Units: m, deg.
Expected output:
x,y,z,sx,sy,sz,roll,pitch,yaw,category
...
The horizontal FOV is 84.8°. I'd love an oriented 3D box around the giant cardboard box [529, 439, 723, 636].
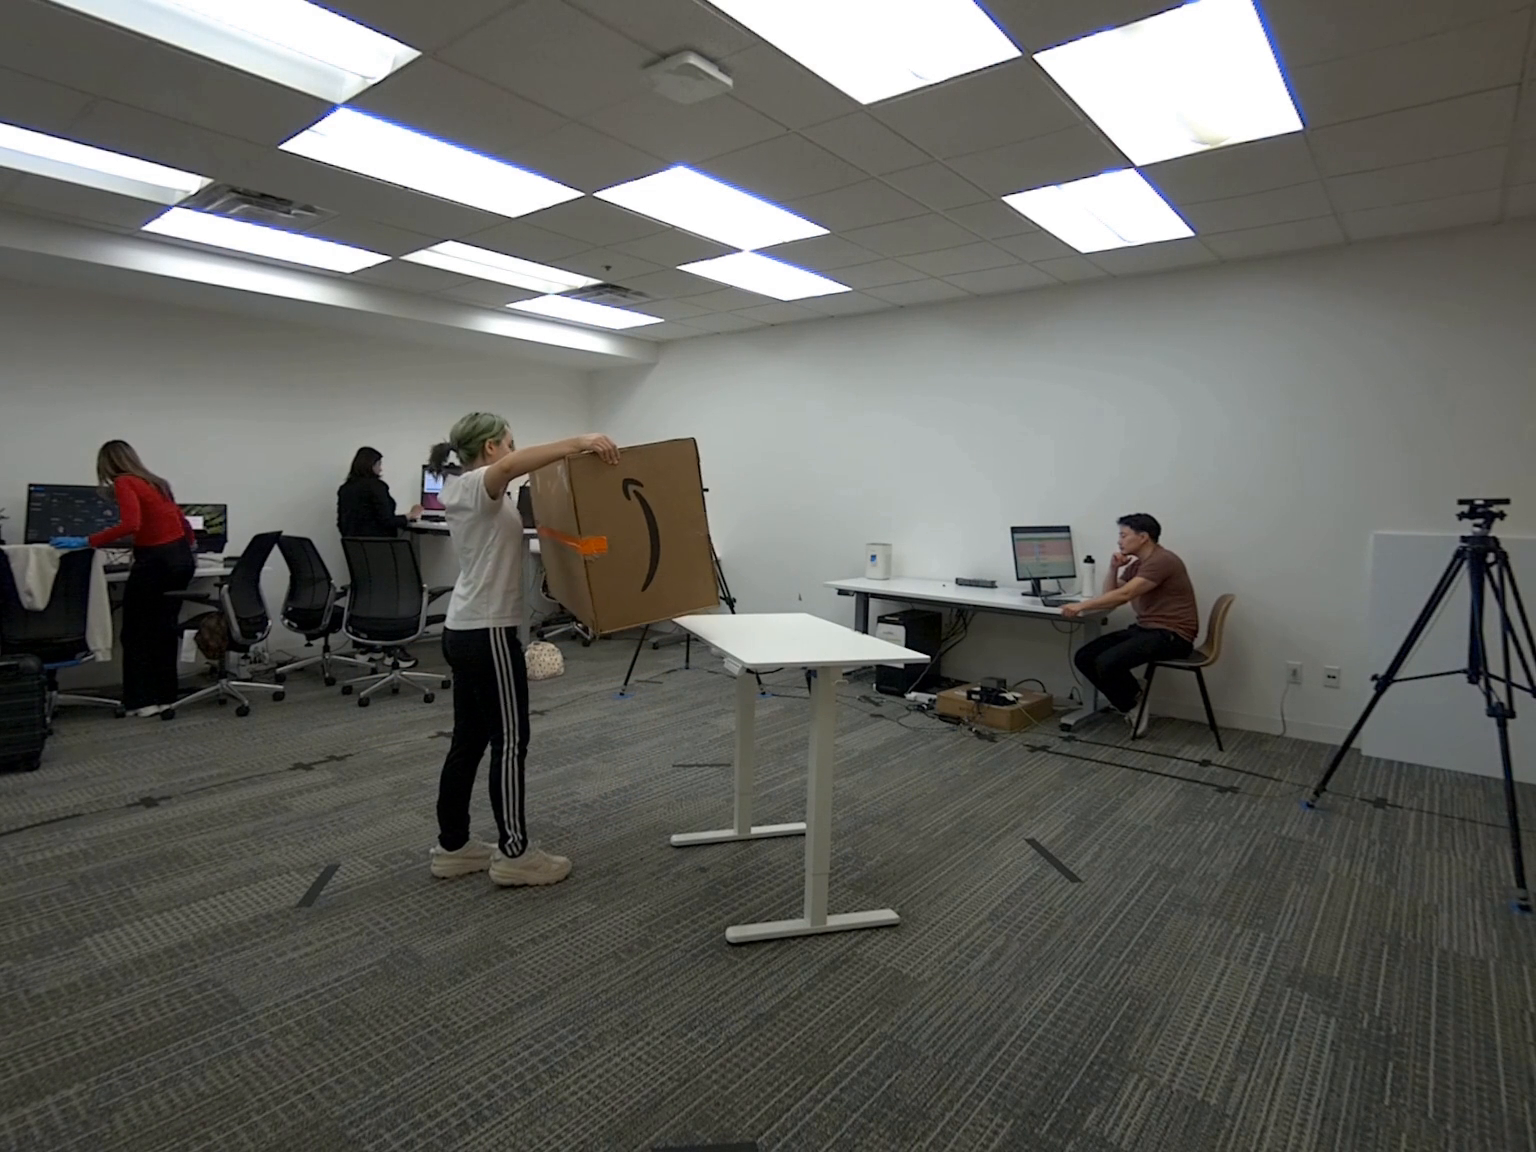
x,y,z,sx,sy,sz,roll,pitch,yaw,category
-0.603,-0.186,3.207,0.439,0.579,1.054,-11,10,-21,giant cardboard box
